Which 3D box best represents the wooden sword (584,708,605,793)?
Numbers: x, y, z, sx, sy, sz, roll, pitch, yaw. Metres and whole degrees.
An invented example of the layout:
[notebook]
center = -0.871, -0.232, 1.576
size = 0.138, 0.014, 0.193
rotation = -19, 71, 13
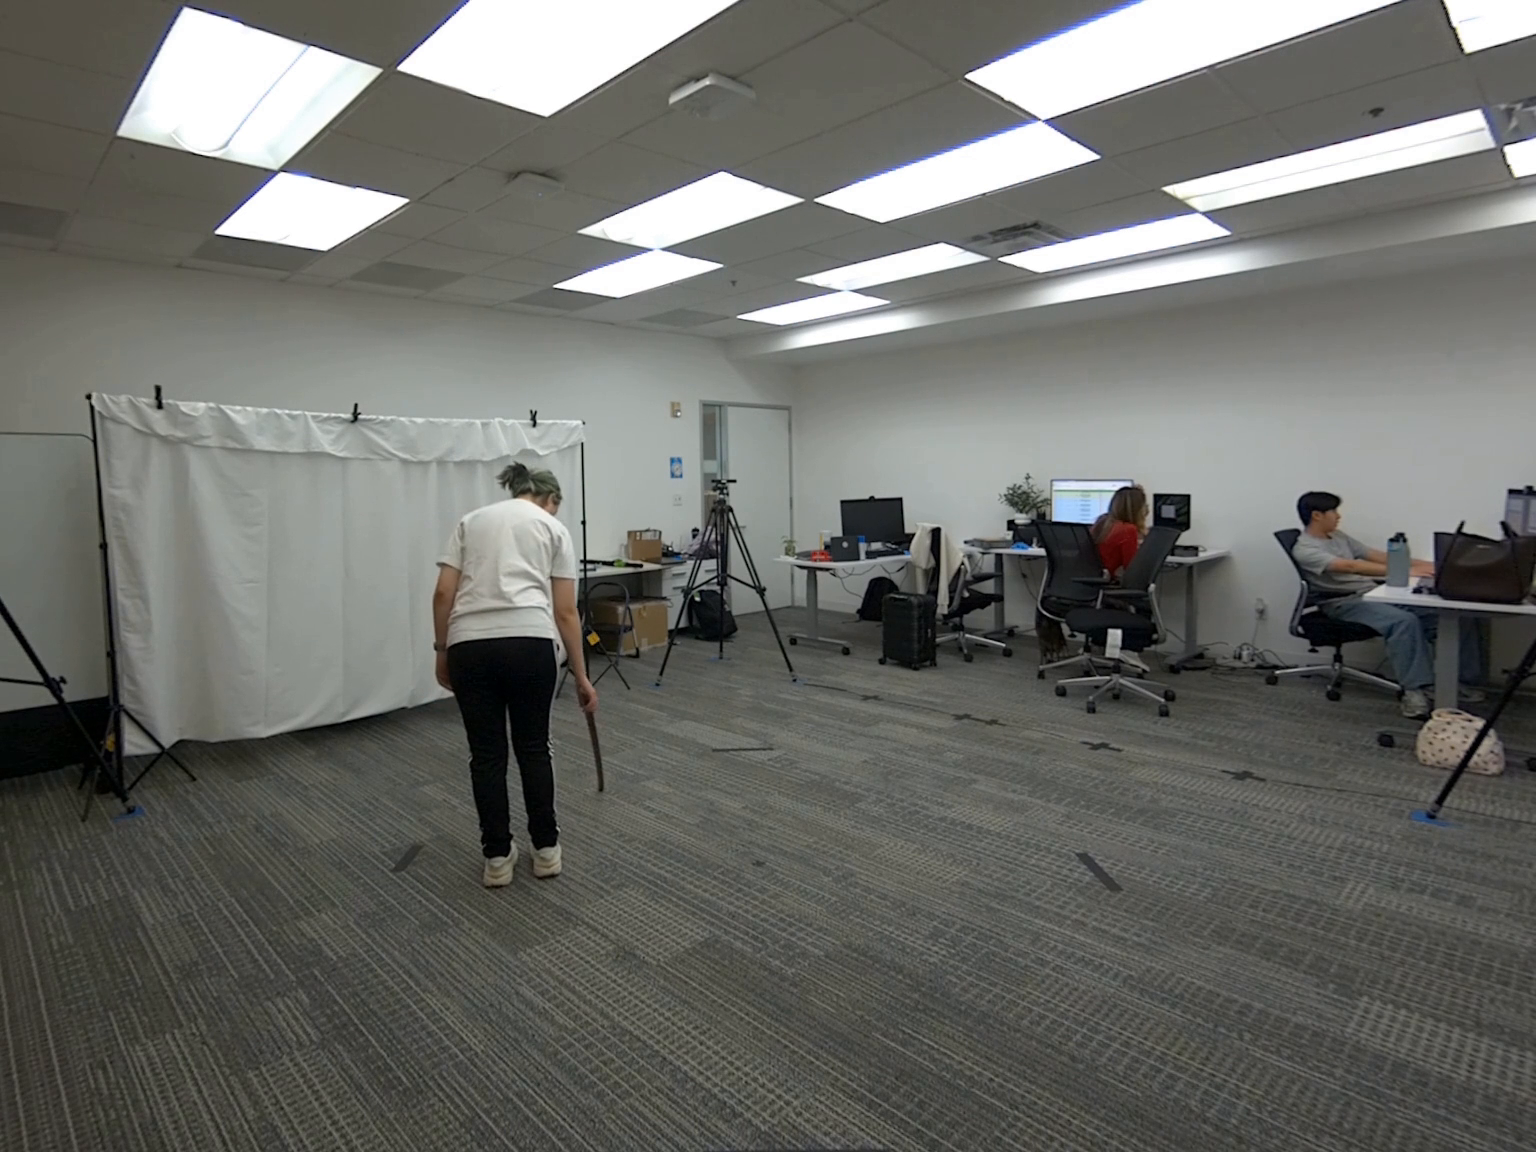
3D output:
[wooden sword]
center = -0.701, 0.699, 3.483
size = 0.051, 0.025, 1.003
rotation = -31, -25, -26
